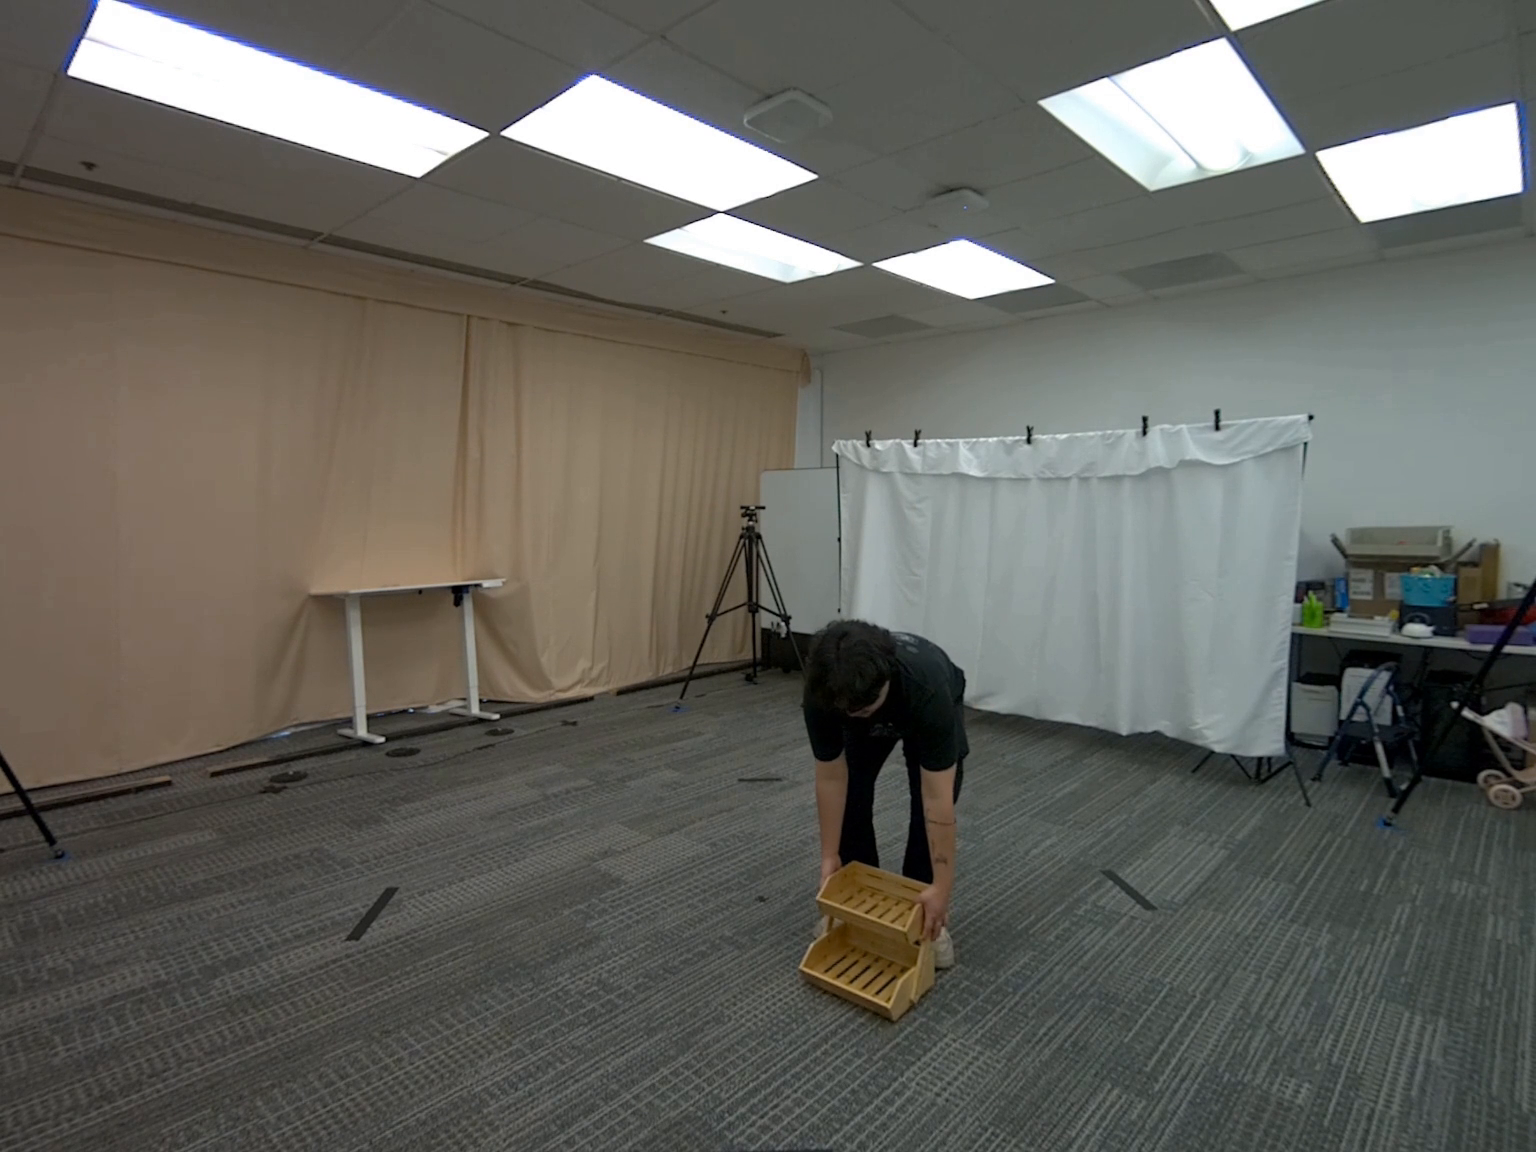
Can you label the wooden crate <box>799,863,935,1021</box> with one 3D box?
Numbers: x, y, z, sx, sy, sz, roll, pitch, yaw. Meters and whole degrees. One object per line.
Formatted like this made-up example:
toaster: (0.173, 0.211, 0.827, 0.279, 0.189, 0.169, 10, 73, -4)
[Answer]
wooden crate: (0.302, 1.036, 2.441, 0.335, 0.272, 0.293, 2, 5, 39)
